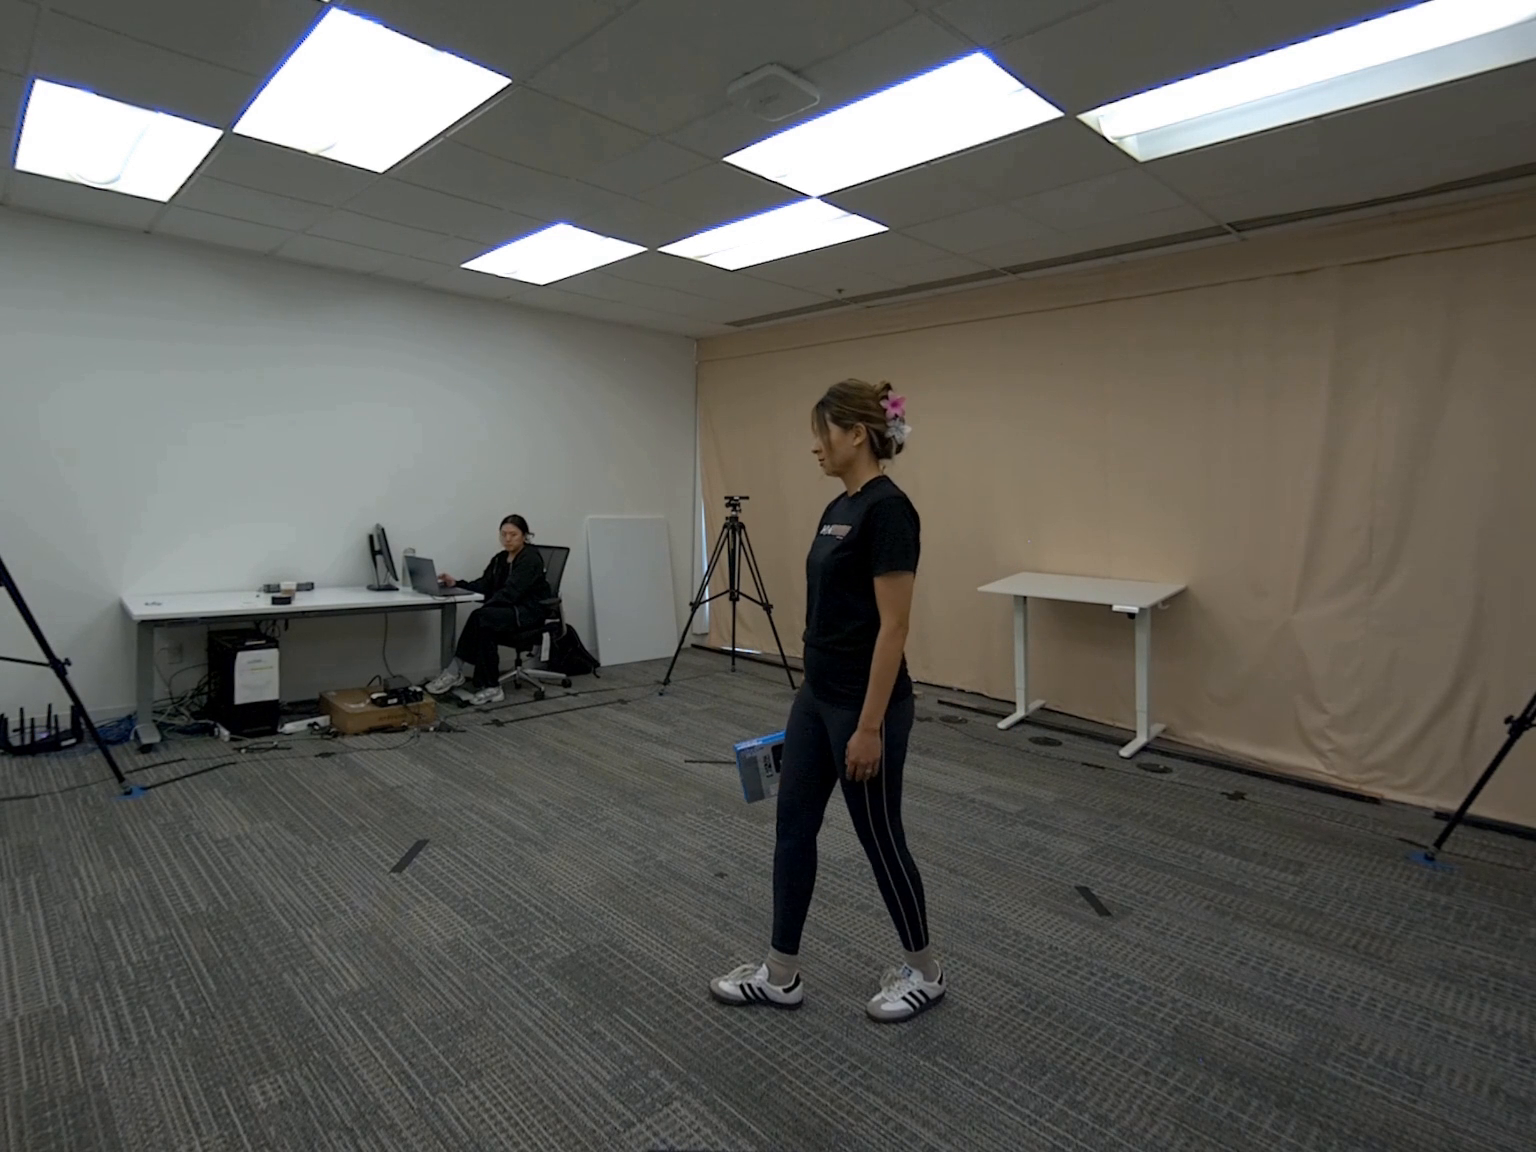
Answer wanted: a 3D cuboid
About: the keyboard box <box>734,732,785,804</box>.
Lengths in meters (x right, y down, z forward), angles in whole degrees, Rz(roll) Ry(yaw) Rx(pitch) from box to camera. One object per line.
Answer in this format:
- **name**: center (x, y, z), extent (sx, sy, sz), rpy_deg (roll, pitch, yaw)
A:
- **keyboard box**: center (0.119, 0.552, 2.576), extent (0.434, 0.175, 0.060), rpy_deg (-12, 5, -10)
